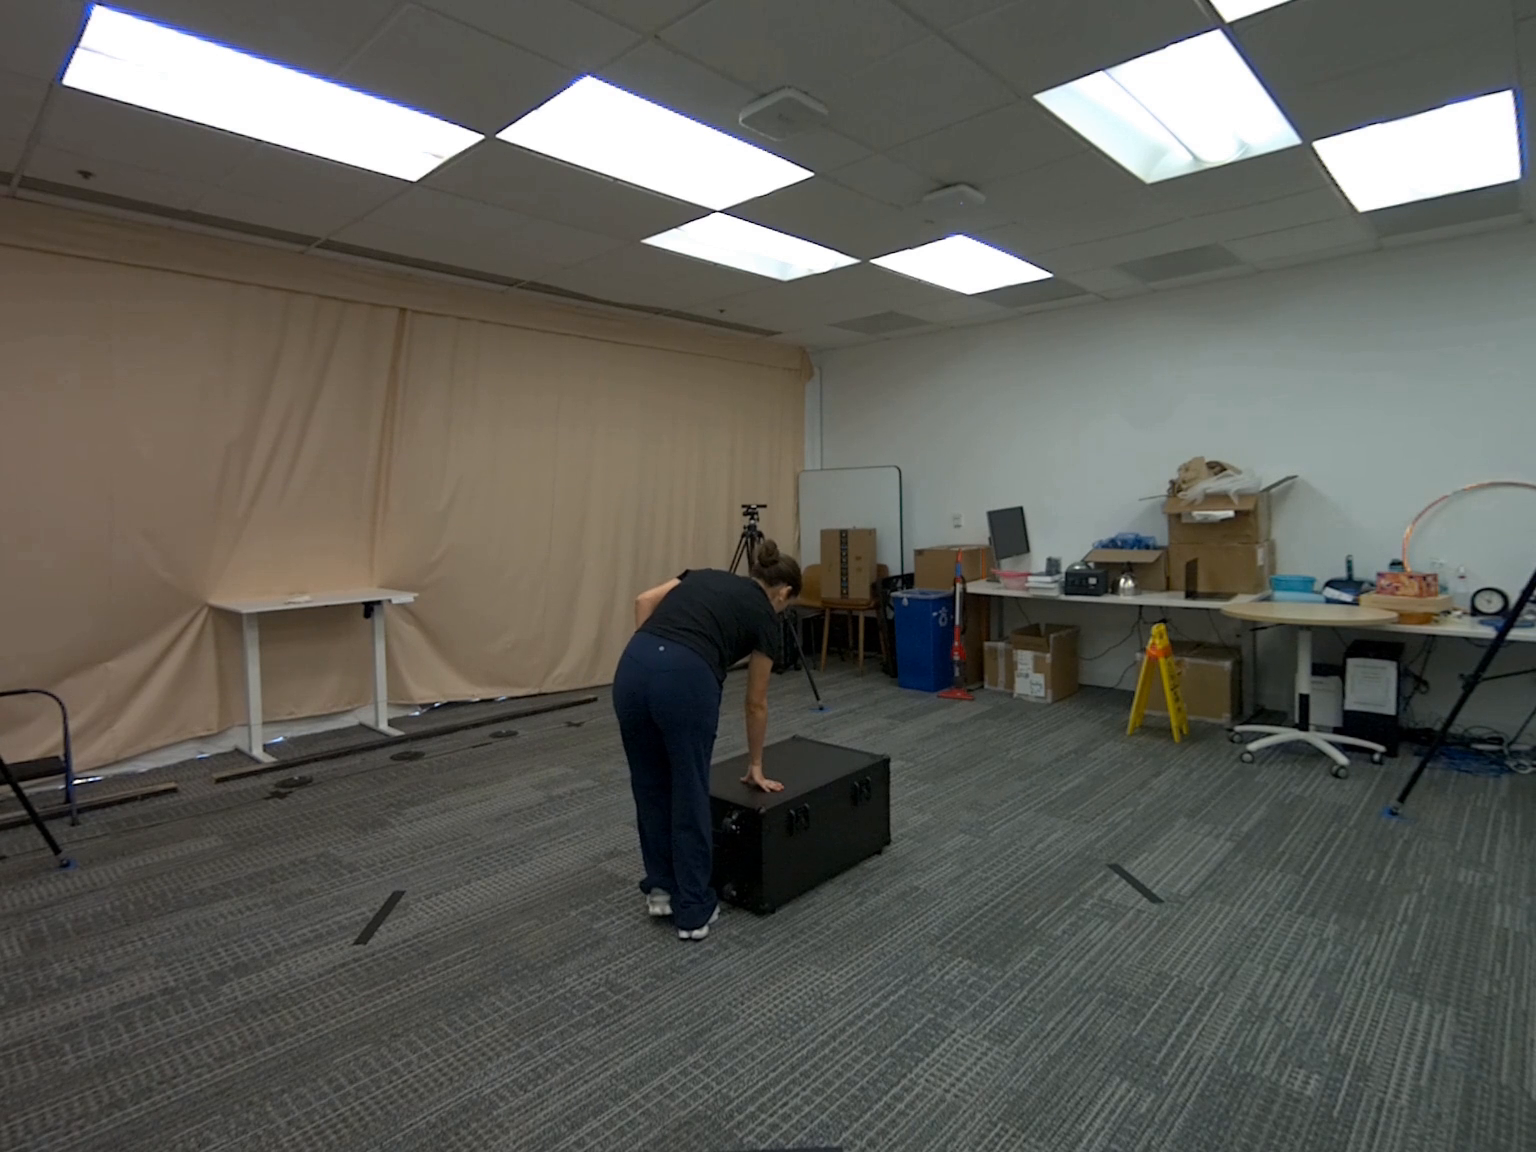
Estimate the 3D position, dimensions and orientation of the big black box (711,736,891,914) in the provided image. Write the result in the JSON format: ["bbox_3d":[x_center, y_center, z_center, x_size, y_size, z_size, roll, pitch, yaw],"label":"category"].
[{"bbox_3d":[0.047,0.912,3.225,0.538,0.395,0.836,3,7,42],"label":"big black box"}]
